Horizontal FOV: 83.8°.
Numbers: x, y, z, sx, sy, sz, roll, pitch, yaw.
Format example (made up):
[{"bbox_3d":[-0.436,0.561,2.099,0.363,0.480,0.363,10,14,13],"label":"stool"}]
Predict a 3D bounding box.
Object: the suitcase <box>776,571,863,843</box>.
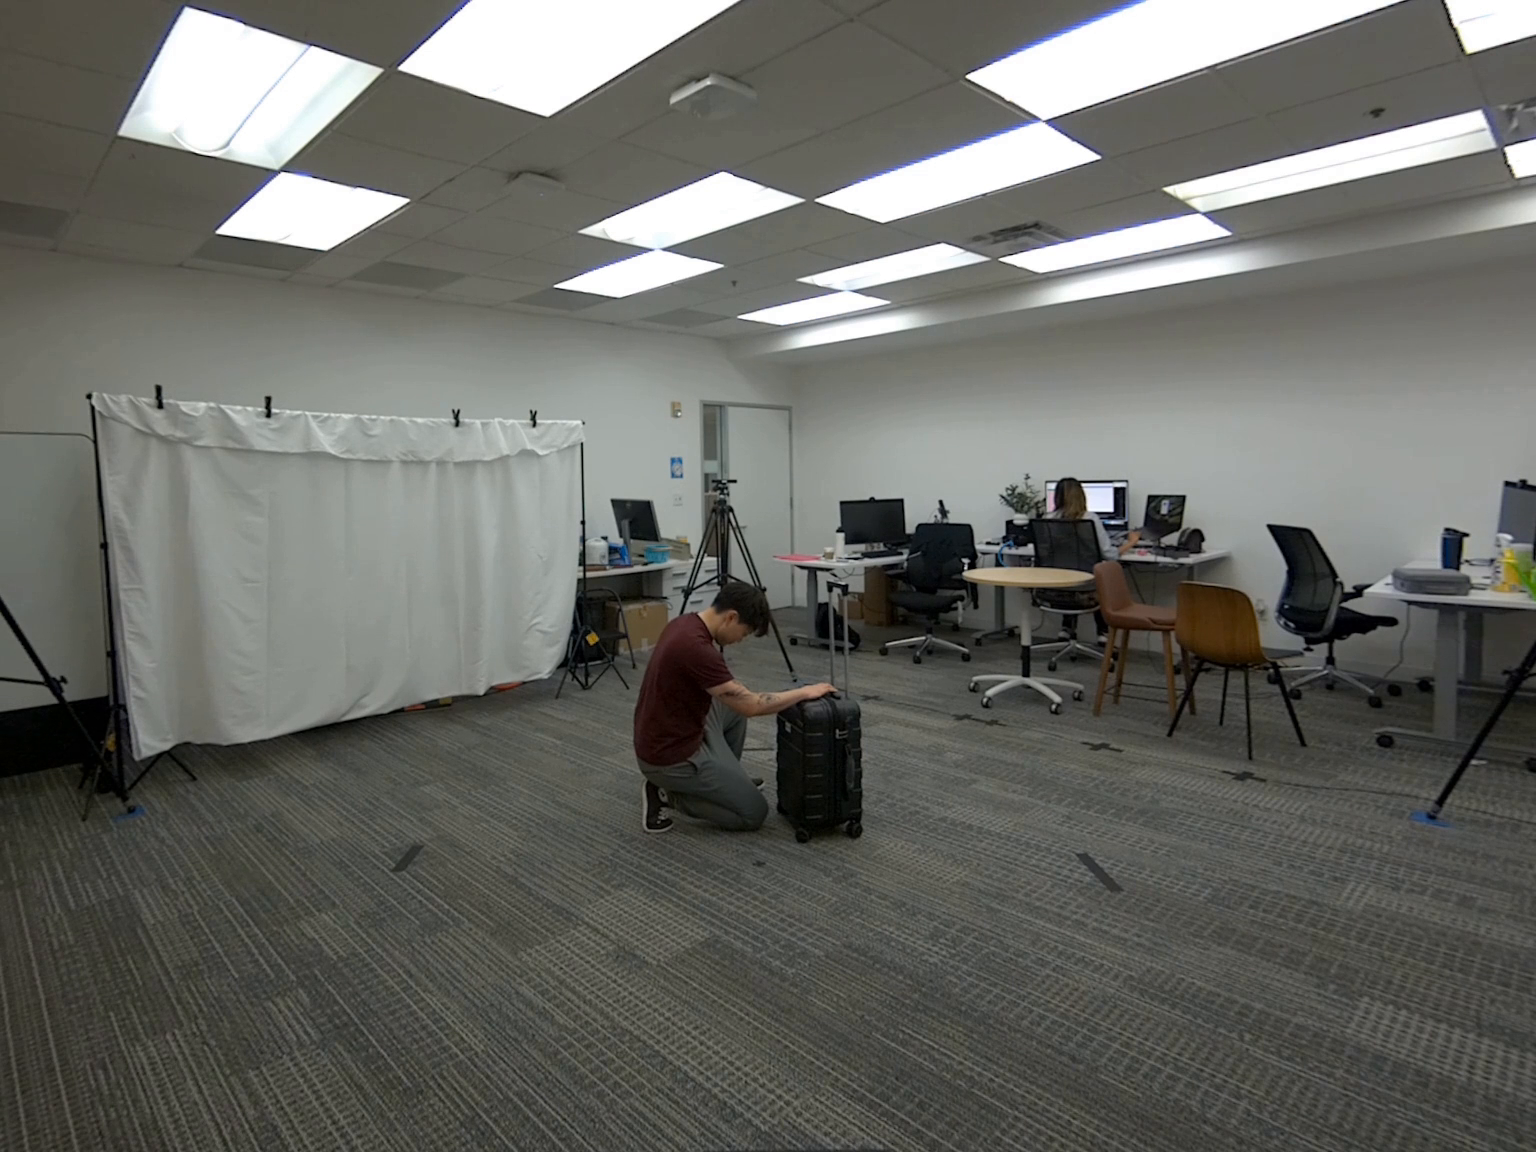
[{"bbox_3d":[0.196,0.525,3.423,0.253,0.976,0.390,-2,3,-16],"label":"suitcase"}]
